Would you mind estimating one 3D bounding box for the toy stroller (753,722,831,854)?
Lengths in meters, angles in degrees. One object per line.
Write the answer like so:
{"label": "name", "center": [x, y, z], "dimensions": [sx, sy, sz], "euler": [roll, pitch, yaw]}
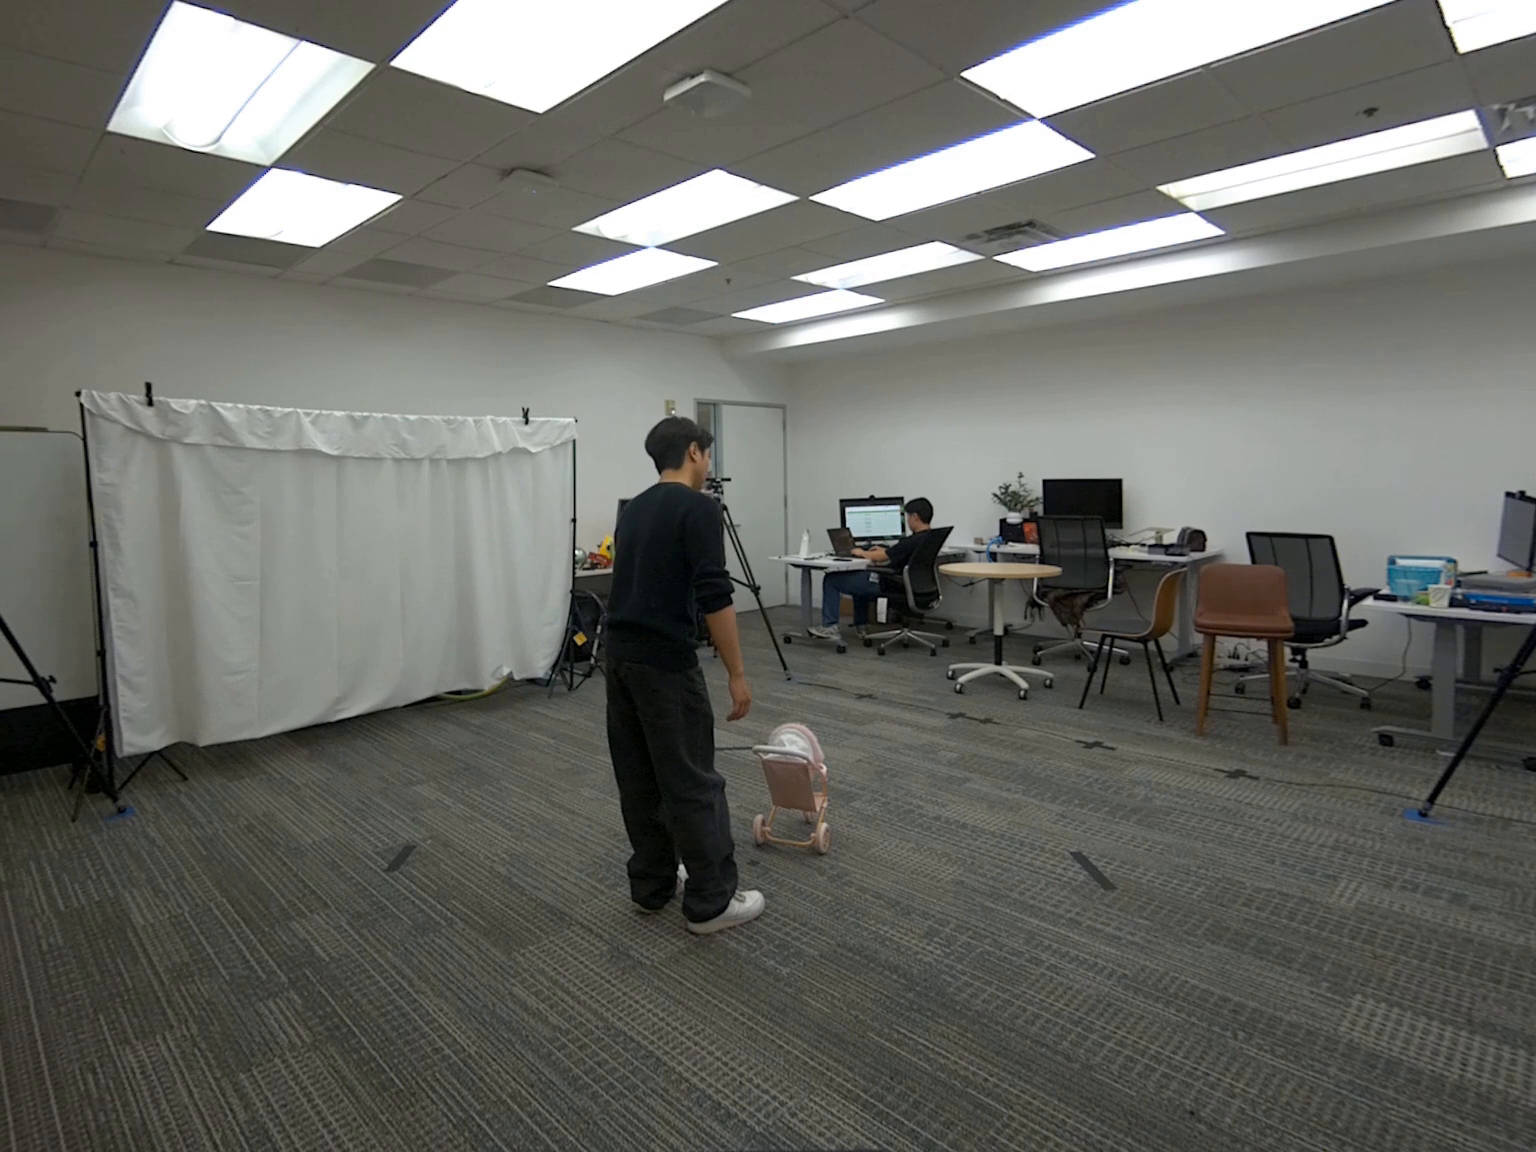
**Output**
{"label": "toy stroller", "center": [0.109, 0.797, 3.273], "dimensions": [0.288, 0.525, 0.340], "euler": [2, 21, 23]}
